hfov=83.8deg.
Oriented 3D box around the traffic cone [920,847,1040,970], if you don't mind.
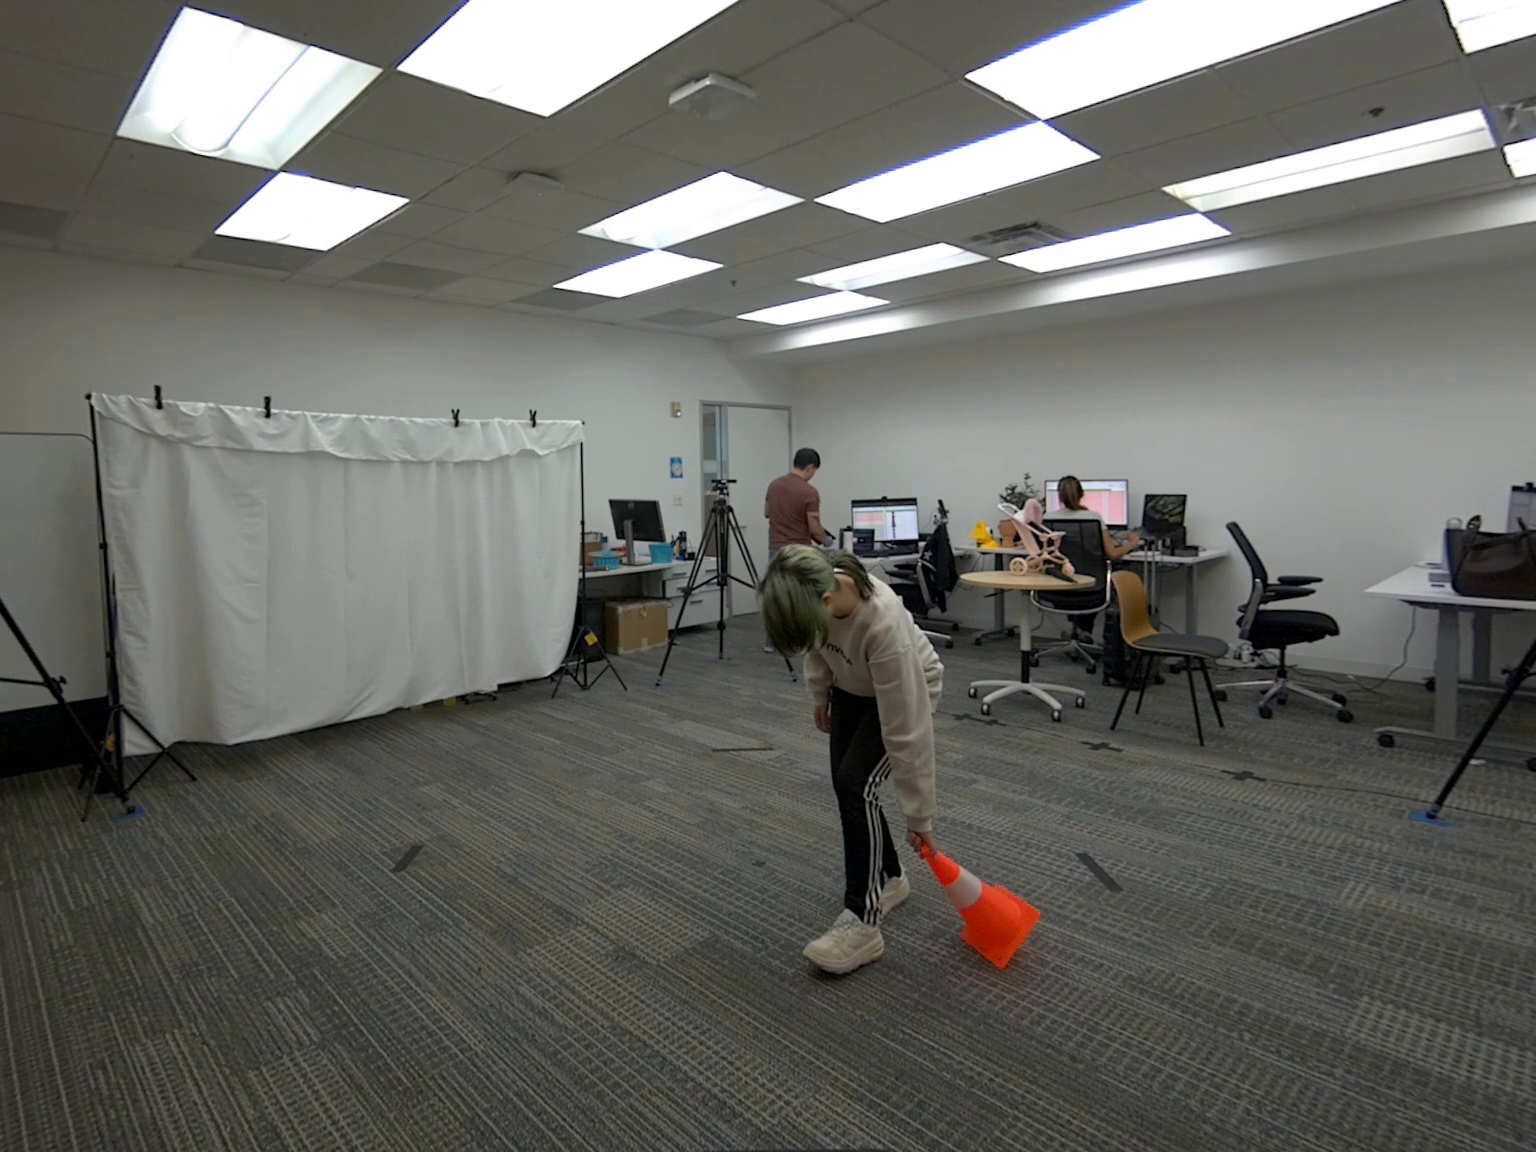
[{"bbox_3d":[0.563,0.903,2.454,0.203,0.375,0.210,-46,19,-8],"label":"traffic cone"}]
